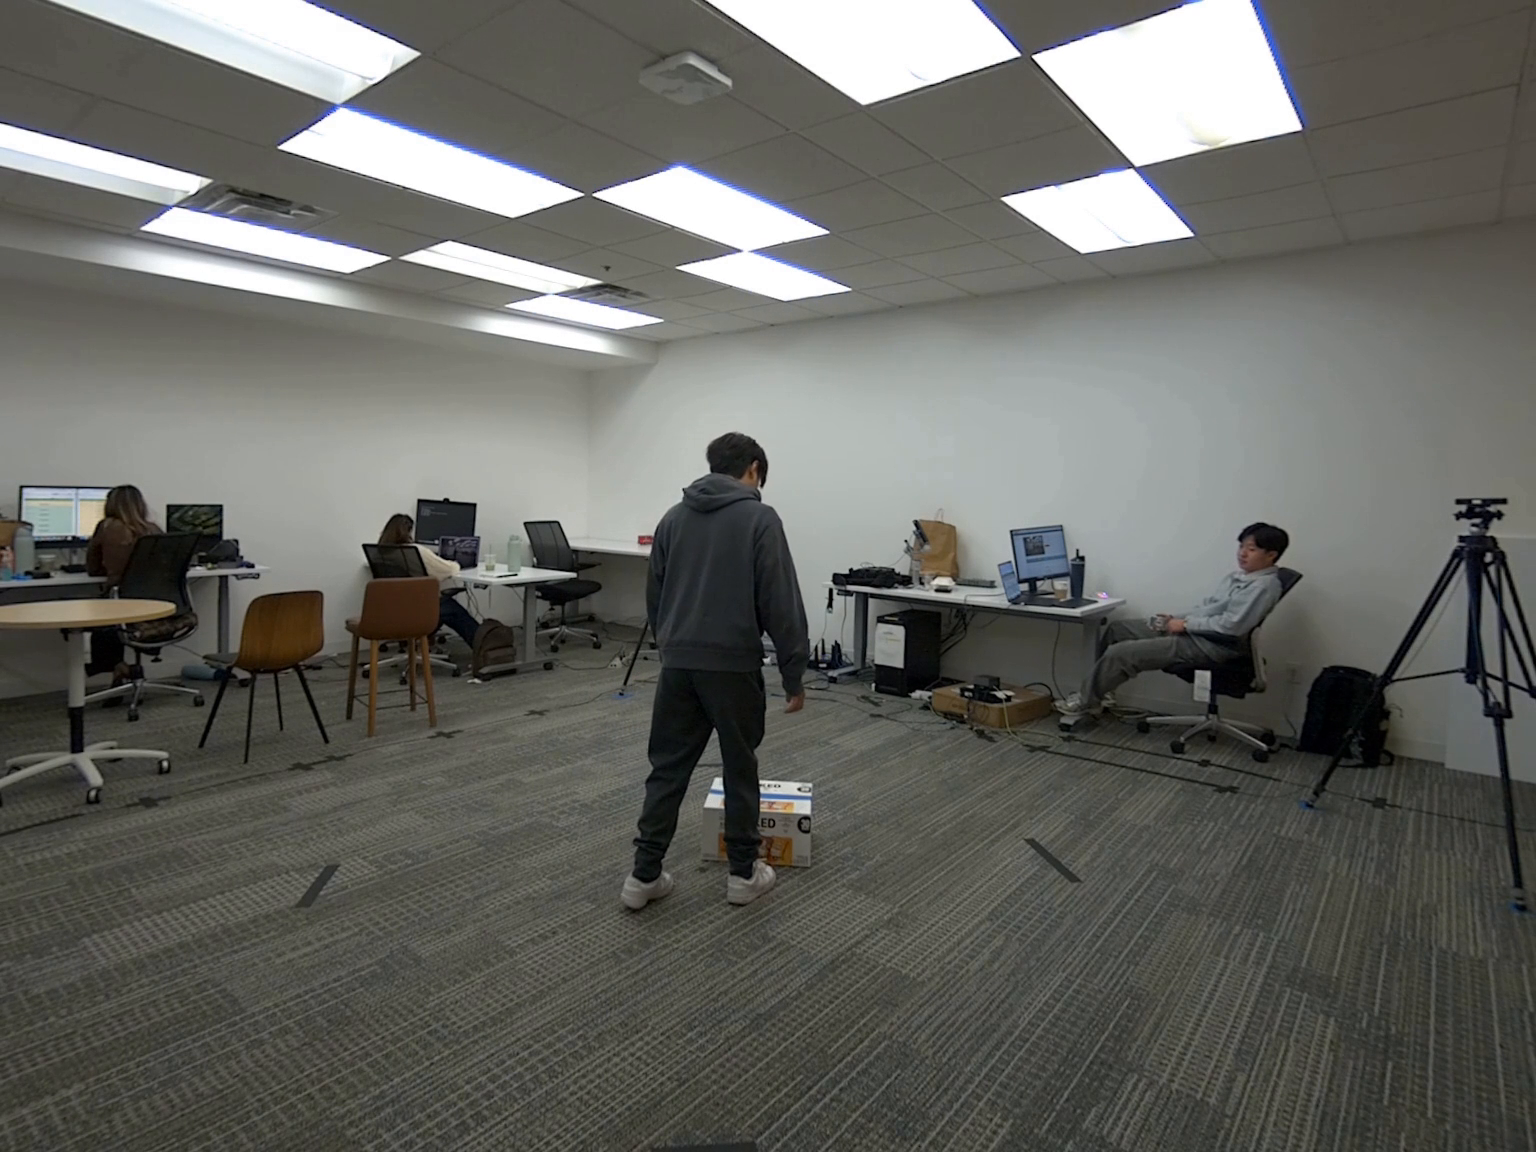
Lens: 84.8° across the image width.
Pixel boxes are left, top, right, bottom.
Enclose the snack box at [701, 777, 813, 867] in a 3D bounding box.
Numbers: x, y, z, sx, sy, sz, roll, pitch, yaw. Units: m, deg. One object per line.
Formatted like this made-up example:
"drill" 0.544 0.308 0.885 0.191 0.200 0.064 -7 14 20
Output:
"snack box" -0.042 0.950 3.321 0.408 0.205 0.339 2 5 6
